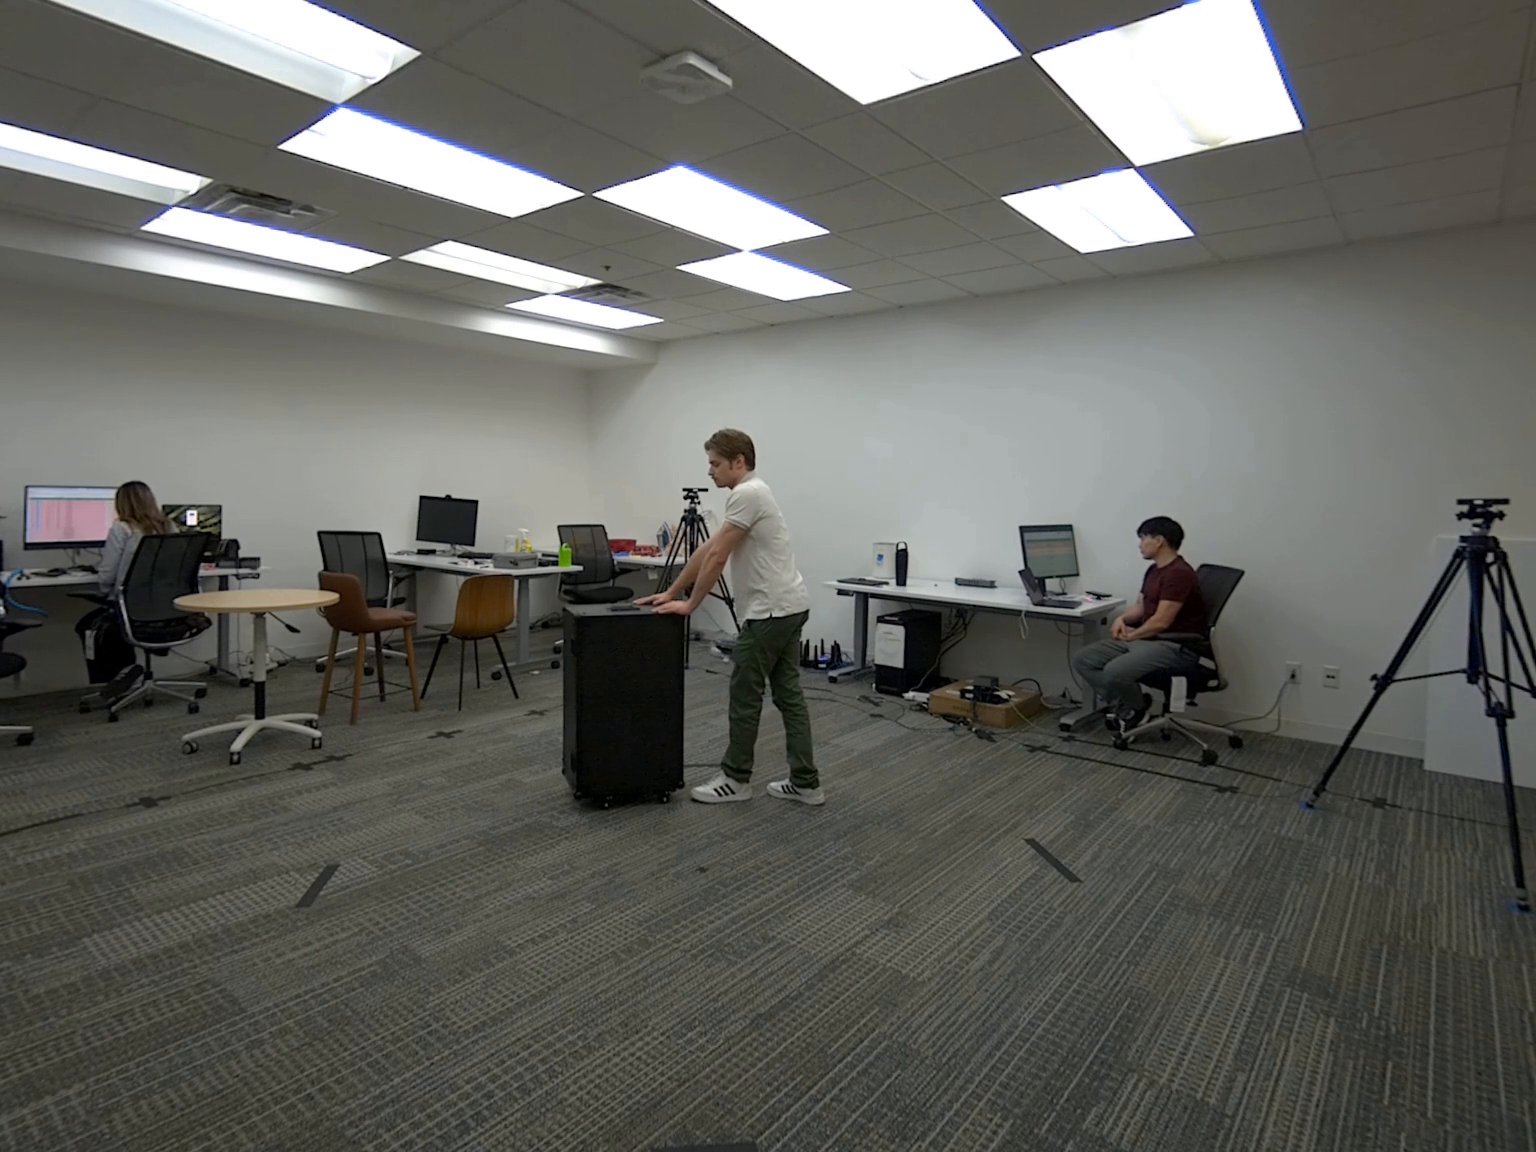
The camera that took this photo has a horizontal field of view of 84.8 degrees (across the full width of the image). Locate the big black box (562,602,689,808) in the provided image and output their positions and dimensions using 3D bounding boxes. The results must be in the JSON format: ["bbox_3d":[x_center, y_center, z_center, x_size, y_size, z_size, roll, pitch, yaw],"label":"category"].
[{"bbox_3d":[-0.677,0.569,3.827,0.513,0.866,0.394,-1,4,-21],"label":"big black box"}]
